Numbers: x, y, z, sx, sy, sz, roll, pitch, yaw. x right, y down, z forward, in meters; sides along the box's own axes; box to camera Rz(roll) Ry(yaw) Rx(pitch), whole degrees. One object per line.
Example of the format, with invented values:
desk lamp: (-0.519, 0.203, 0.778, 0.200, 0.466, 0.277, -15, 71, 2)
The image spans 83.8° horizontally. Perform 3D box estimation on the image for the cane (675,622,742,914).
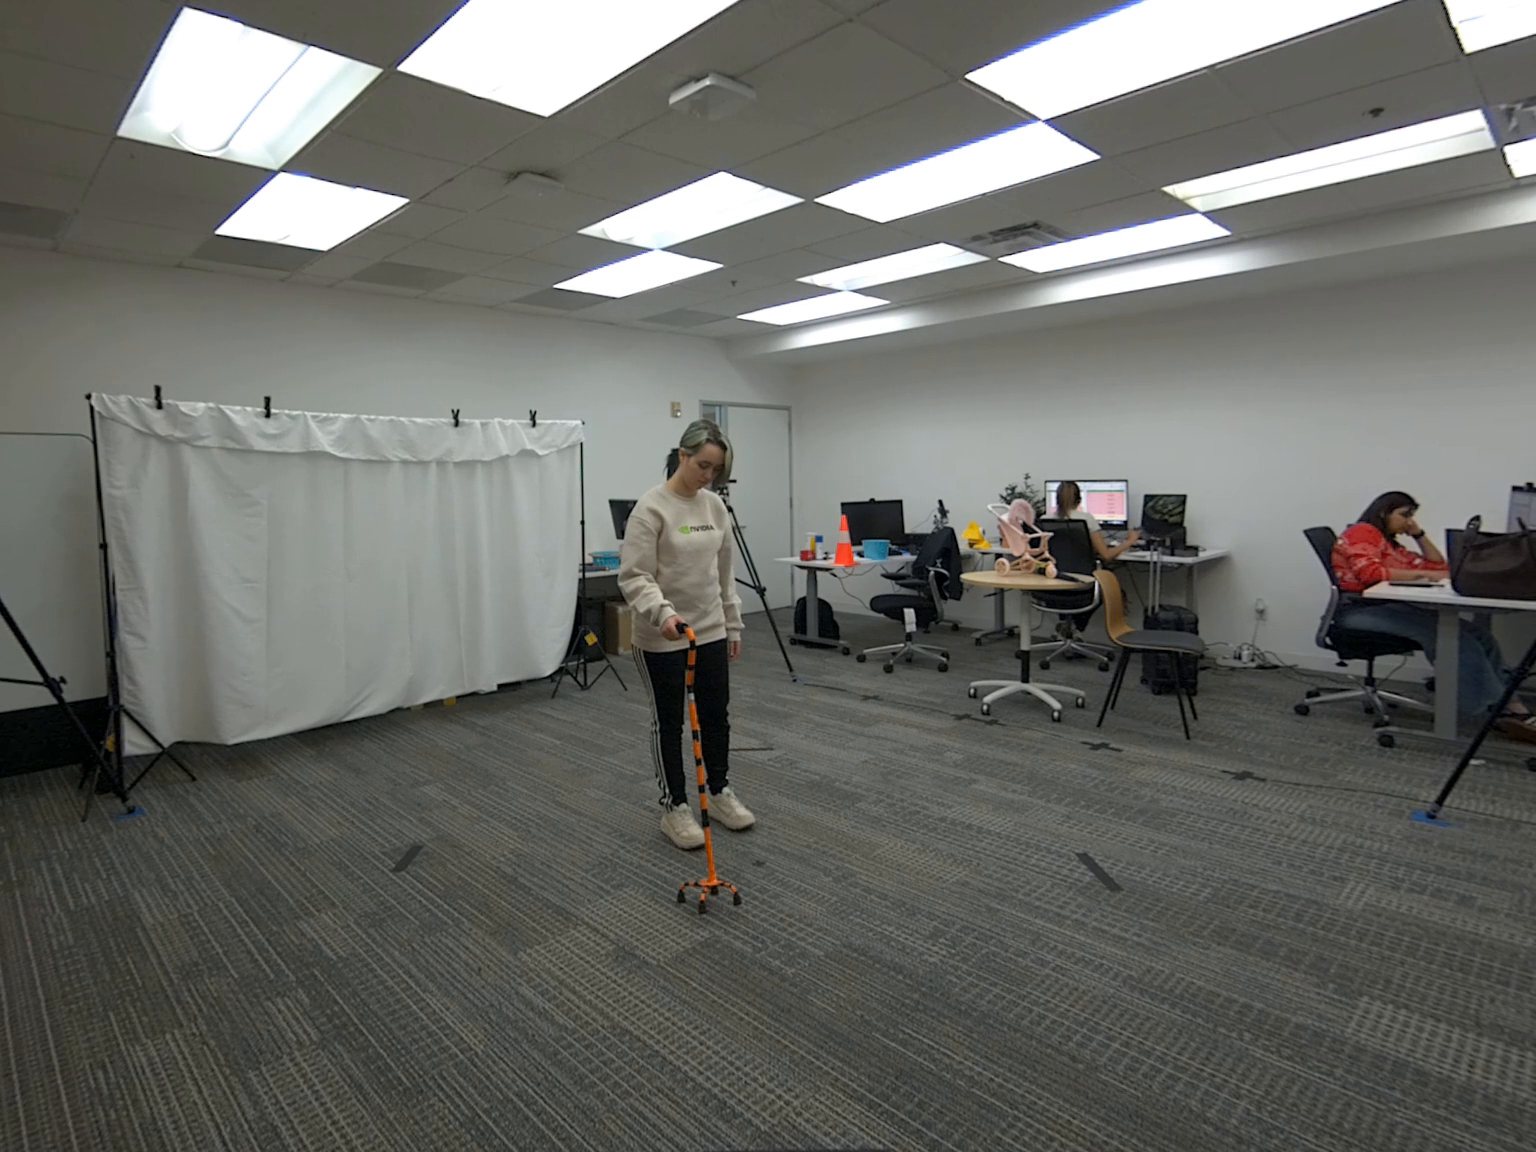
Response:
cane: (-0.246, 0.622, 2.845, 0.148, 0.914, 0.209, -3, -8, -28)
